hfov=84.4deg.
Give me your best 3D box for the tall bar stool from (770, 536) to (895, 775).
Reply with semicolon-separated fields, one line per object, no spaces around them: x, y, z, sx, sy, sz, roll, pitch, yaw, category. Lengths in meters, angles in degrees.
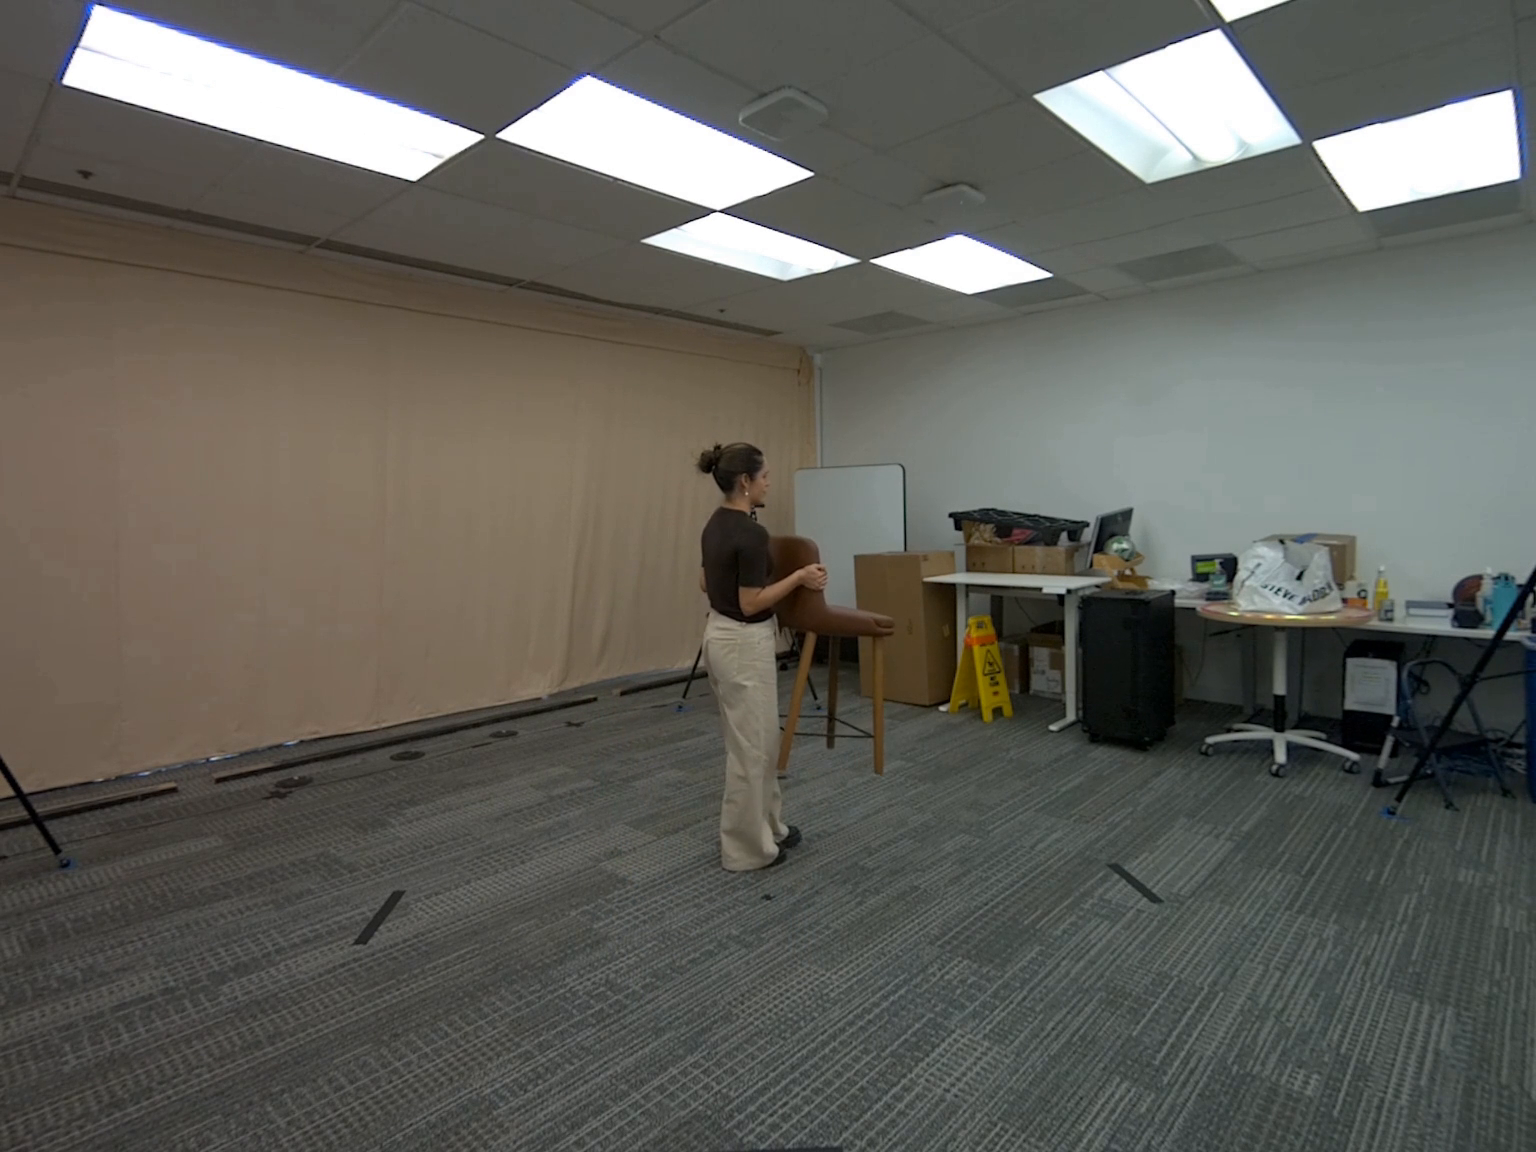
0.214;0.309;3.365;0.457;0.889;0.468;5;1;-23;tall bar stool
